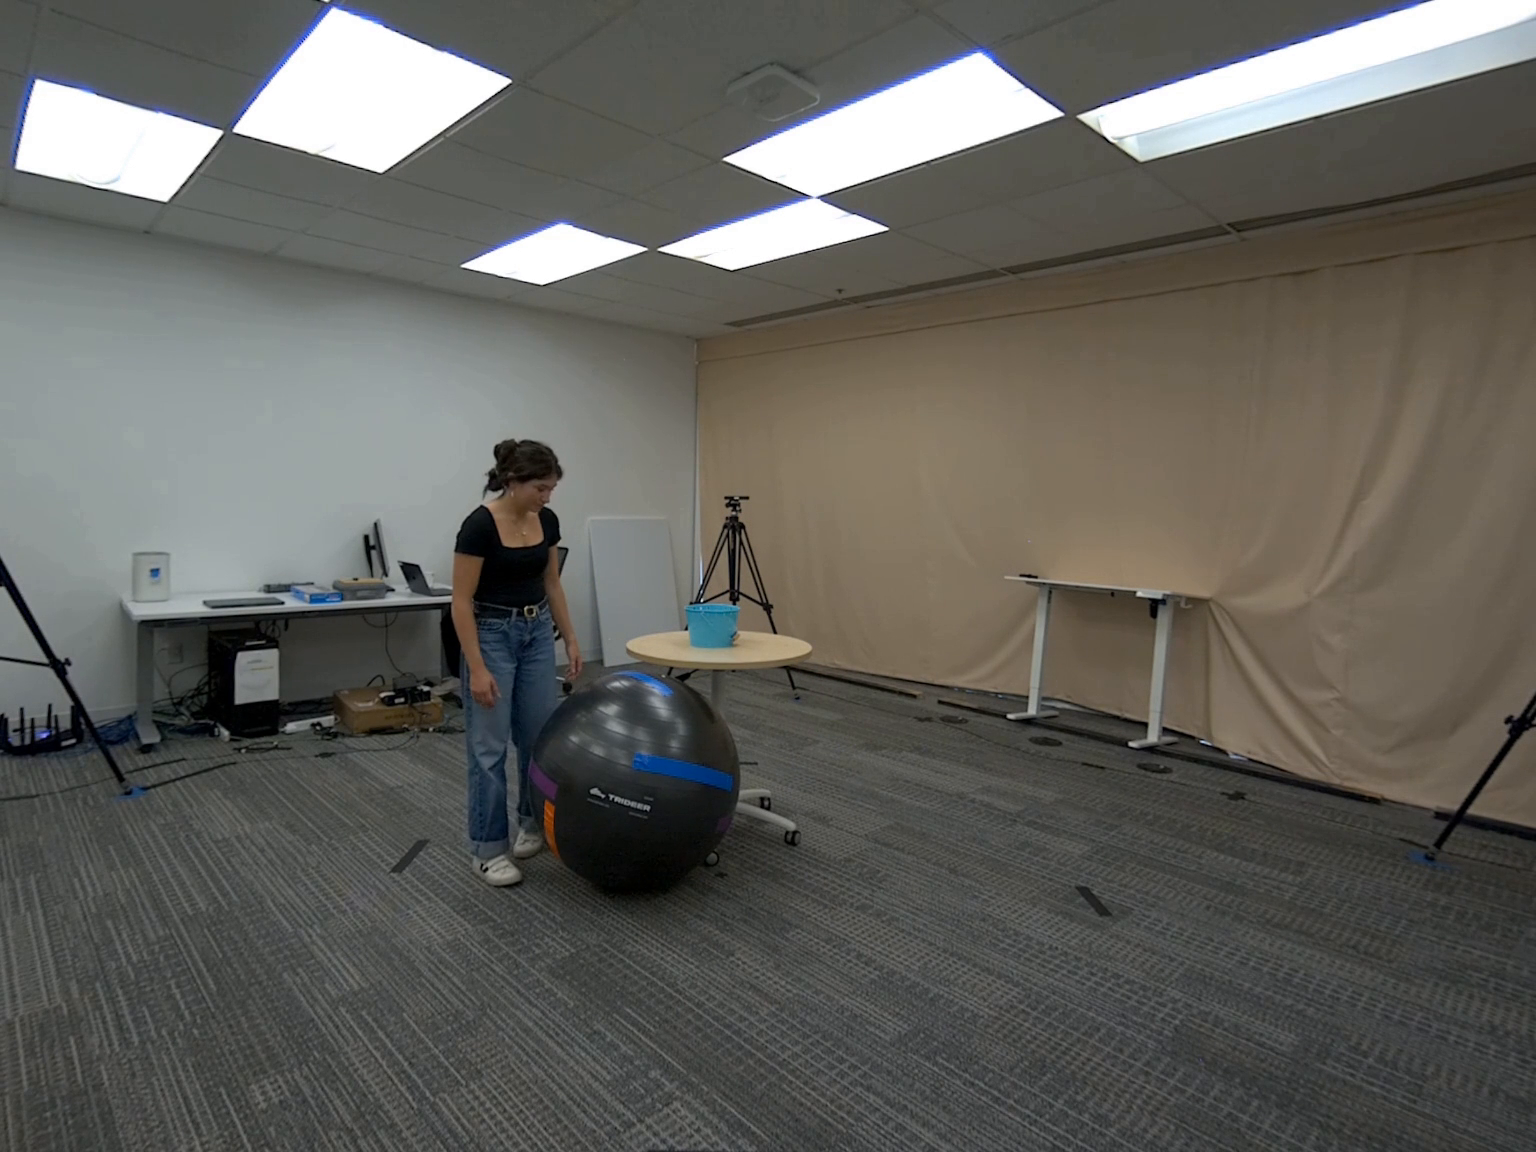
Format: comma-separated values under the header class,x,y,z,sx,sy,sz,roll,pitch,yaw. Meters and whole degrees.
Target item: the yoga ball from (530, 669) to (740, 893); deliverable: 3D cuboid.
class,x,y,z,sx,sy,sz,roll,pitch,yaw
yoga ball,-0.487,0.736,3.042,0.757,0.756,0.761,1,4,-1
